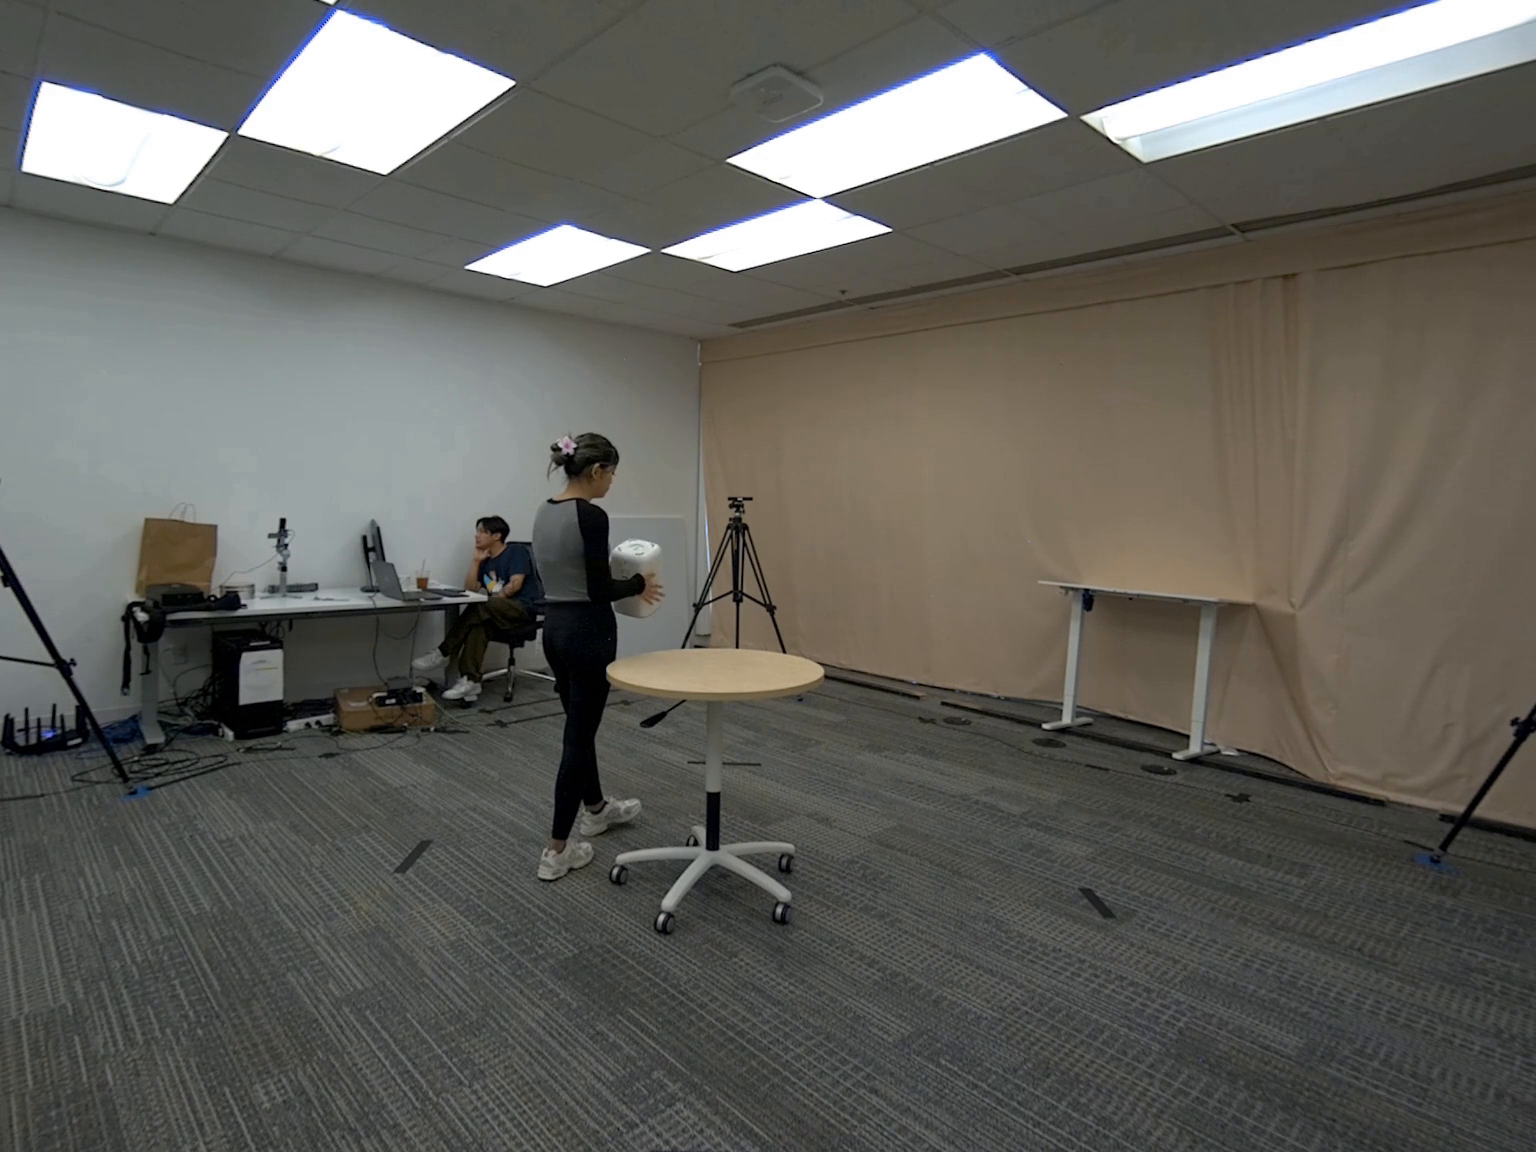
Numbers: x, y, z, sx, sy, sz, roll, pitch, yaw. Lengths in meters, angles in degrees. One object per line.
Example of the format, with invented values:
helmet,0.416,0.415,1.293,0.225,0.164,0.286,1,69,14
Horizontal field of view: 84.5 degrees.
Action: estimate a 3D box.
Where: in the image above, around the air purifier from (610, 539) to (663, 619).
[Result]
air purifier,-0.523,0.001,3.344,0.174,0.261,0.171,13,27,22
